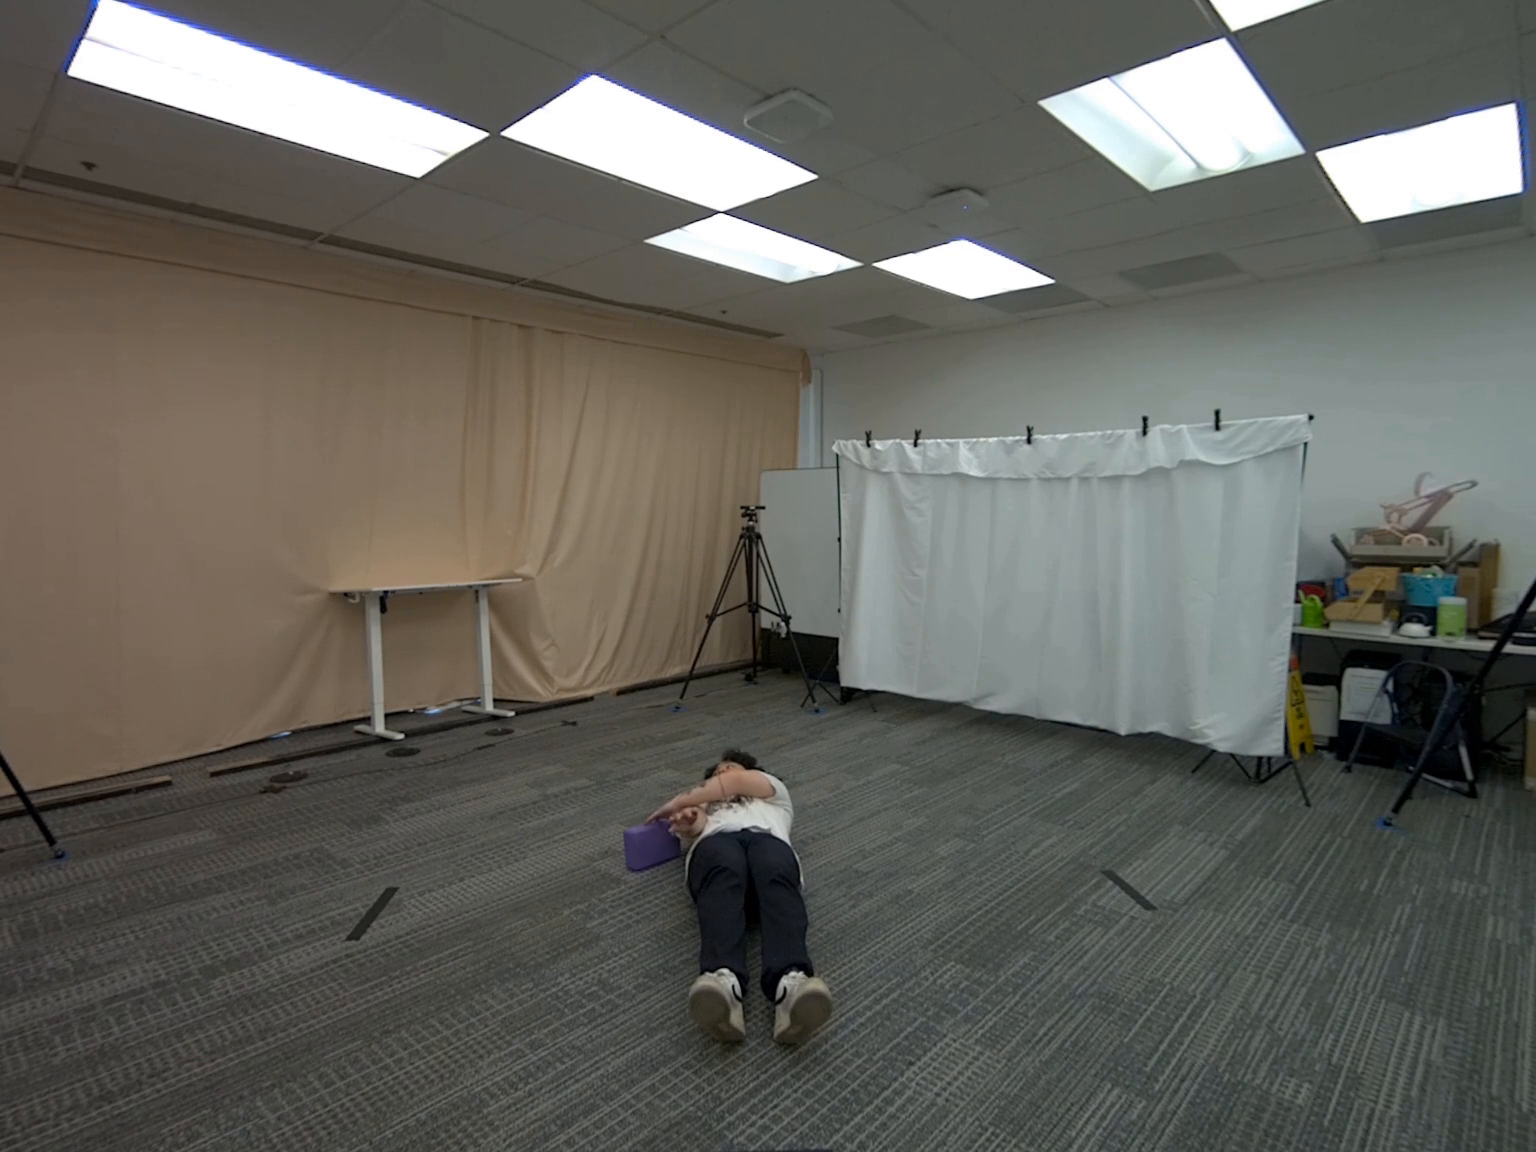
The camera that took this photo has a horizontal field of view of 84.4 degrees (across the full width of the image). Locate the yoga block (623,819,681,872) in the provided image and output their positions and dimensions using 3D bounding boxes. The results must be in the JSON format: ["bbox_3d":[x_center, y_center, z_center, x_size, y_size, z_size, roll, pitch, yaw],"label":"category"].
[{"bbox_3d":[-0.452,1.048,3.303,0.222,0.149,0.079,-5,0,-45],"label":"yoga block"}]
